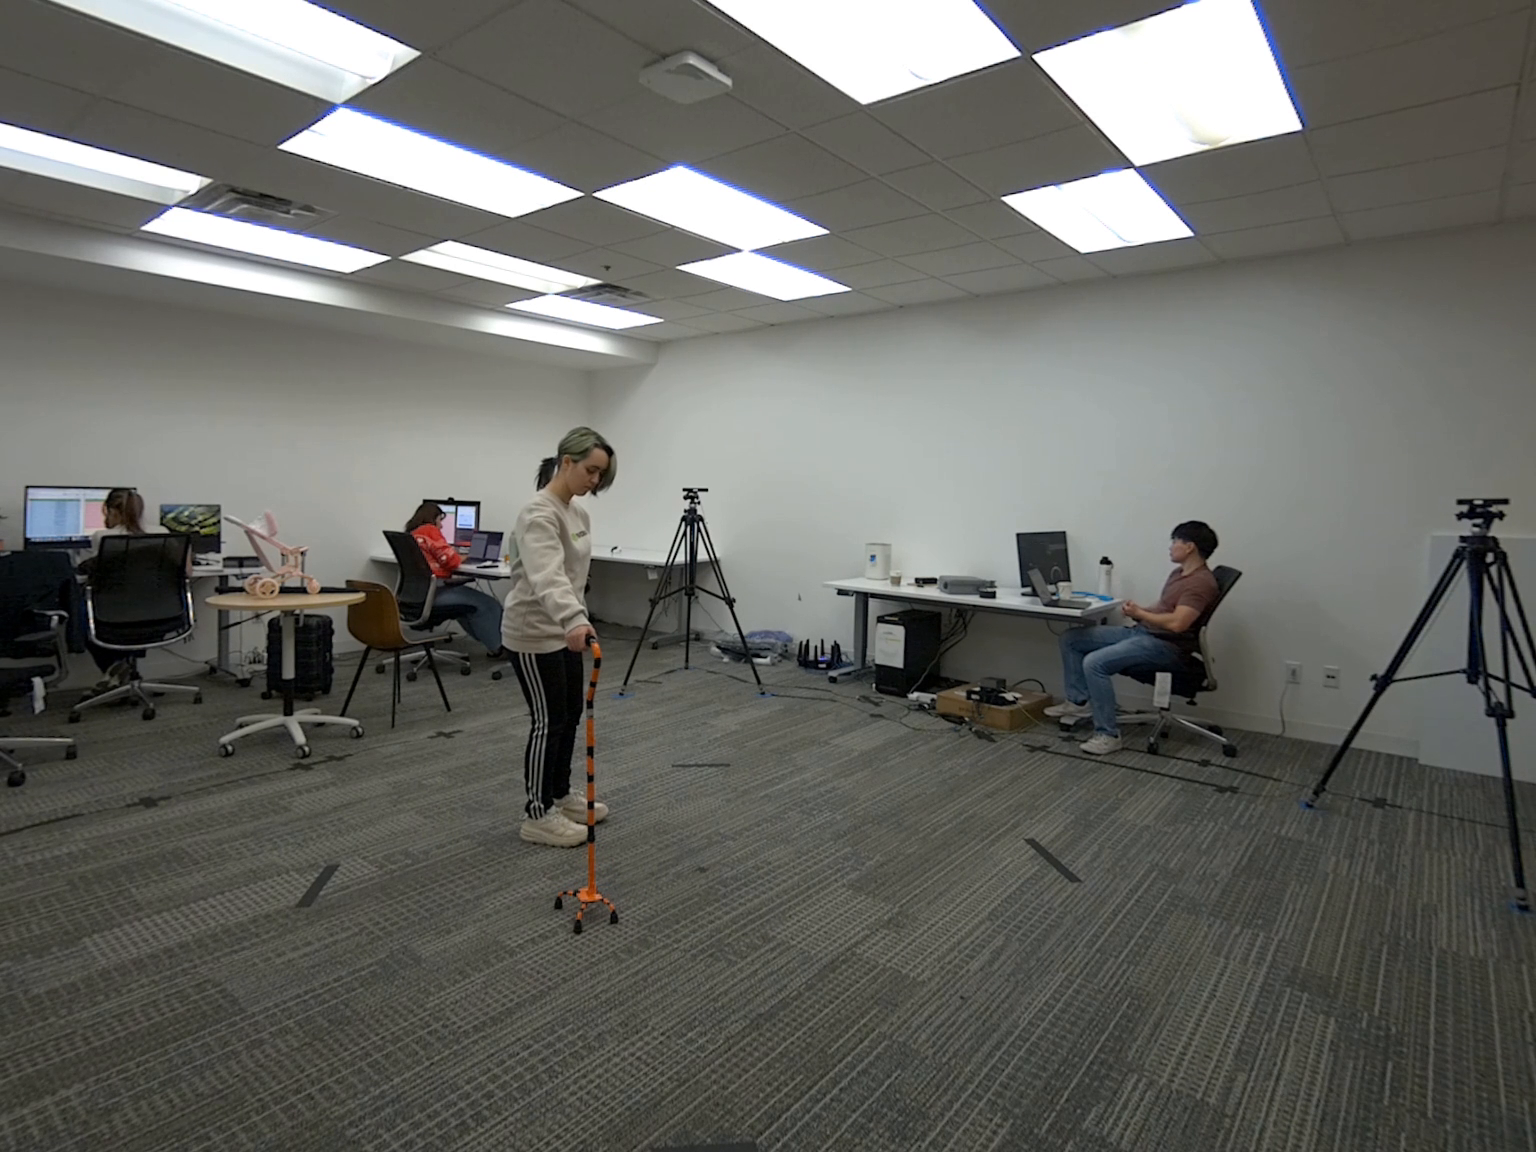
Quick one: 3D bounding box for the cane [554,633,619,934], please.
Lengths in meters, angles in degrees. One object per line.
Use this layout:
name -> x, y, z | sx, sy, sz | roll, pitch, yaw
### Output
cane -> -0.602, 0.646, 2.741 | 0.147, 0.906, 0.213 | -1, 3, -33
